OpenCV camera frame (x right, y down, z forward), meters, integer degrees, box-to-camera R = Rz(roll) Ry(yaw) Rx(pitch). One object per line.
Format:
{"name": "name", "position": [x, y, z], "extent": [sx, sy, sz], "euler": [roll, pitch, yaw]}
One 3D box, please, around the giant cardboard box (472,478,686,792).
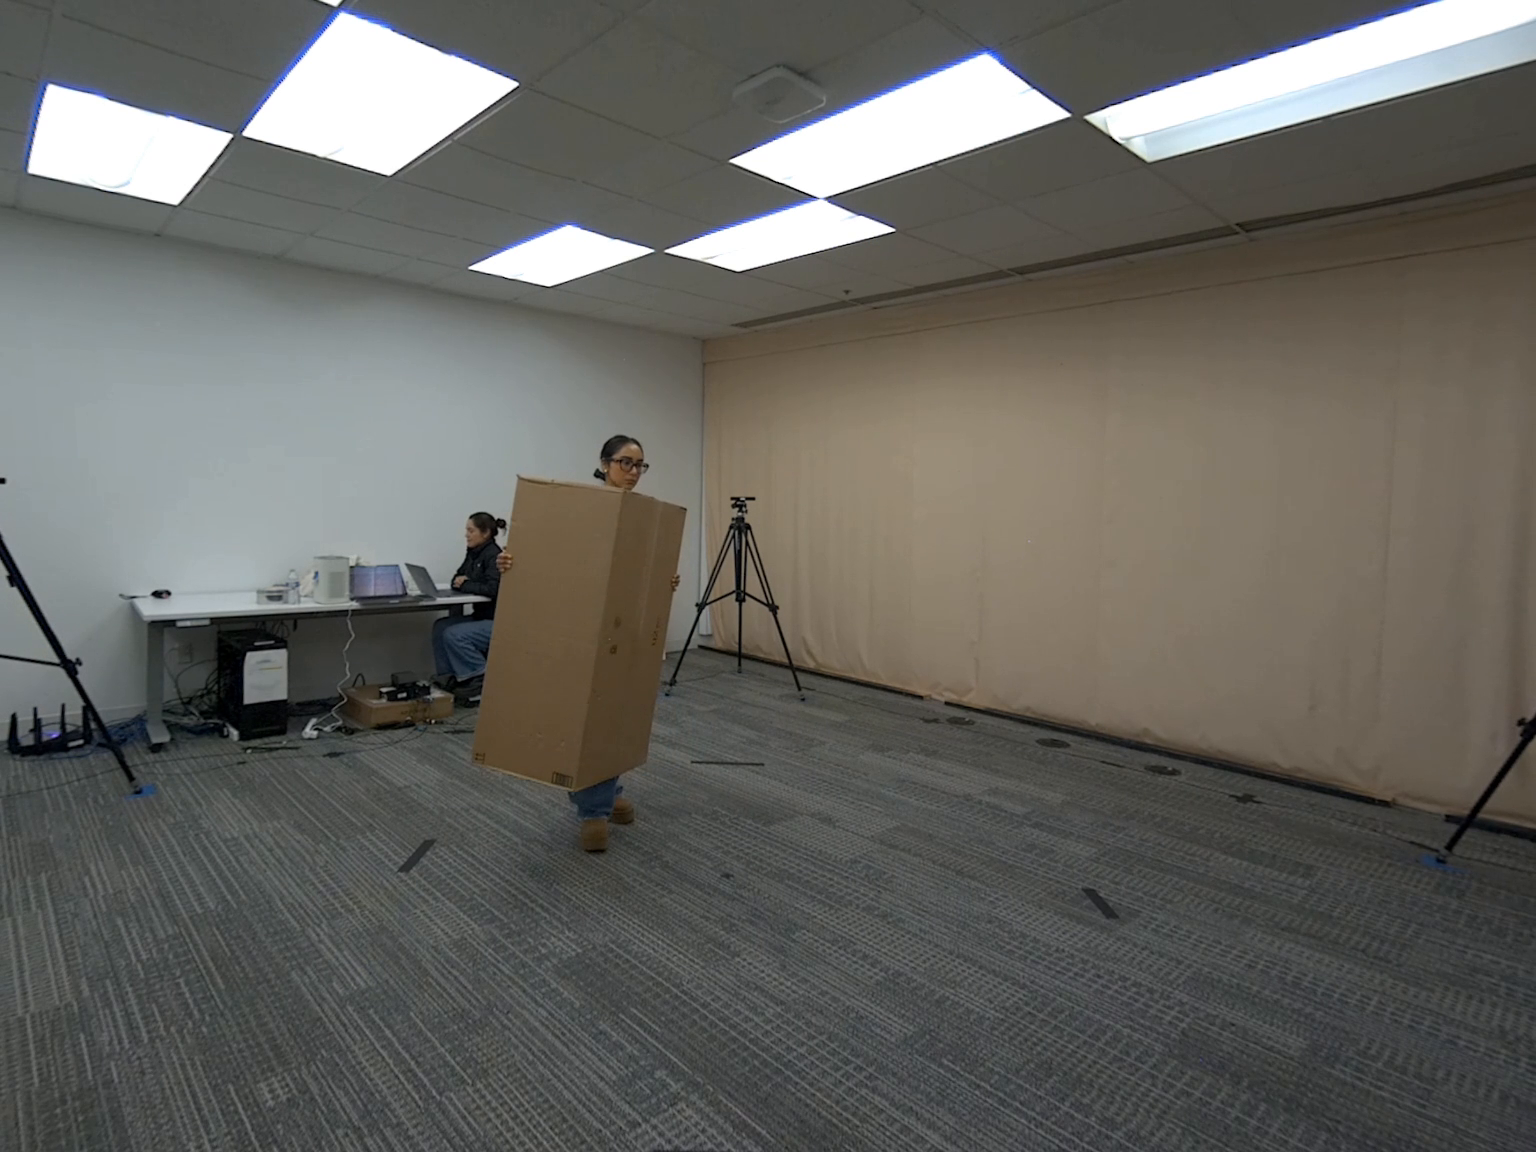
{"name": "giant cardboard box", "position": [-0.683, 0.194, 3.128], "extent": [0.433, 1.026, 0.568], "euler": [9, 0, 18]}
